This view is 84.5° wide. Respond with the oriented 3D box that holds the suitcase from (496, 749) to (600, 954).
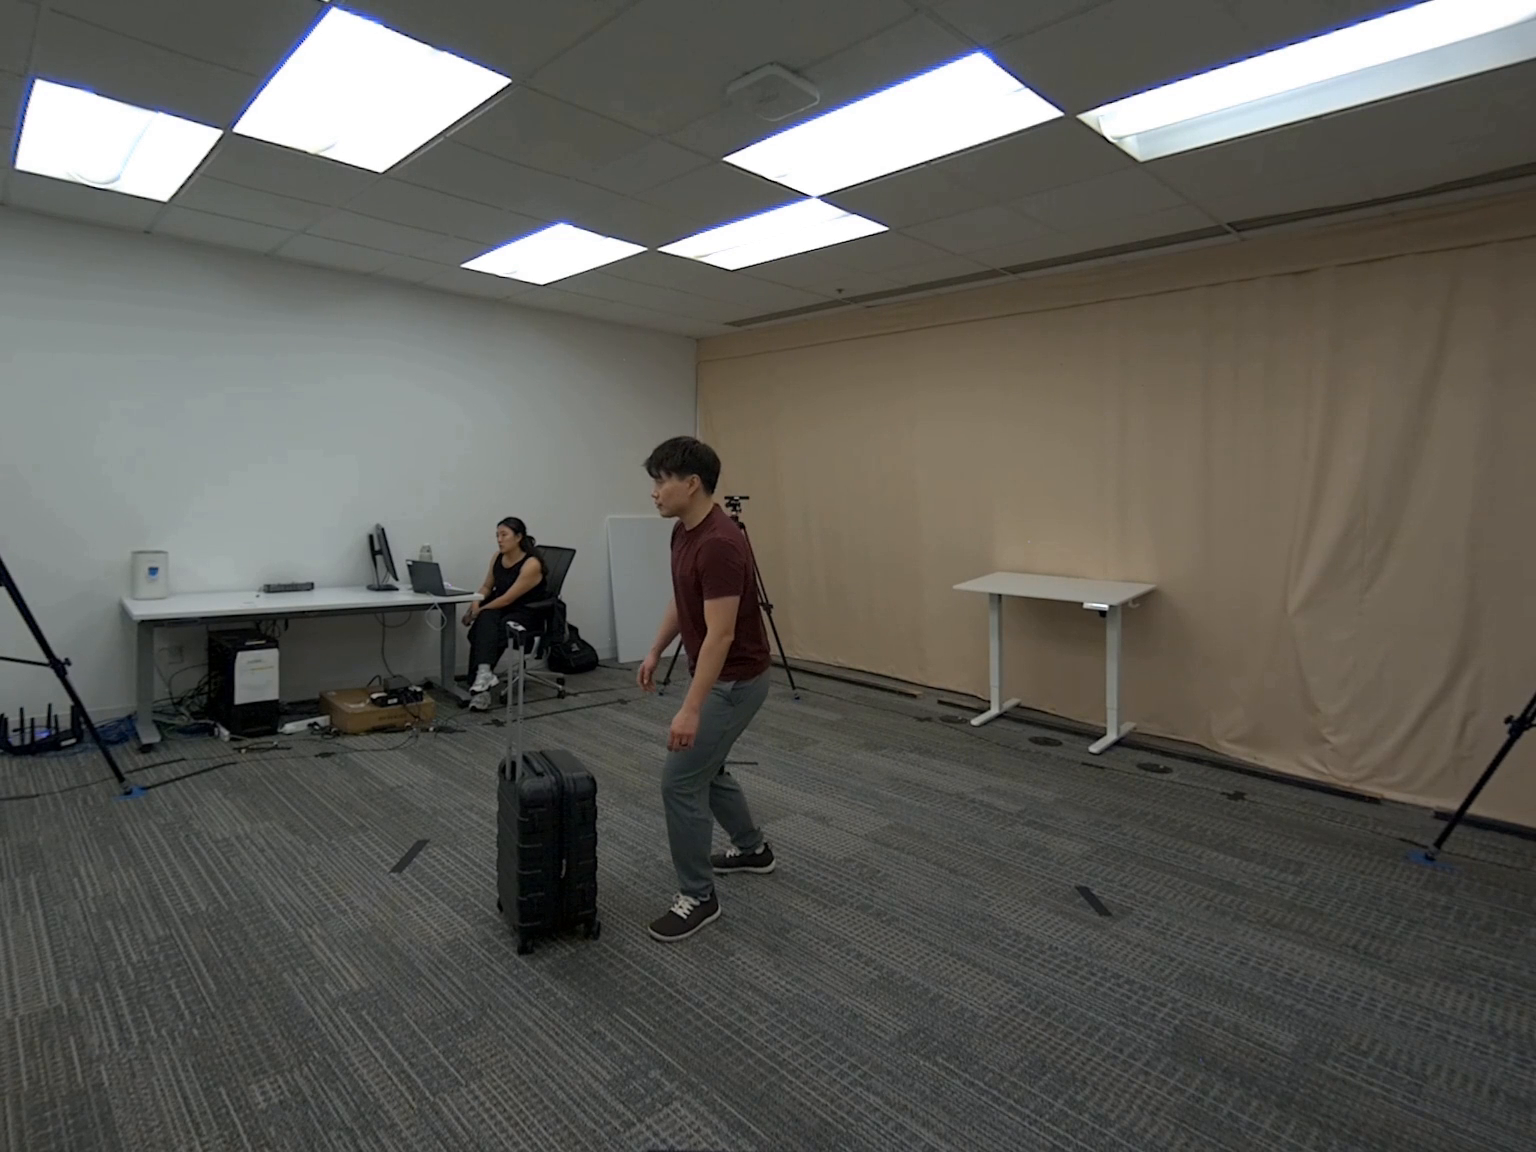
[{"bbox_3d":[-0.705,0.648,2.679,0.252,0.975,0.392,0,5,-27],"label":"suitcase"}]
